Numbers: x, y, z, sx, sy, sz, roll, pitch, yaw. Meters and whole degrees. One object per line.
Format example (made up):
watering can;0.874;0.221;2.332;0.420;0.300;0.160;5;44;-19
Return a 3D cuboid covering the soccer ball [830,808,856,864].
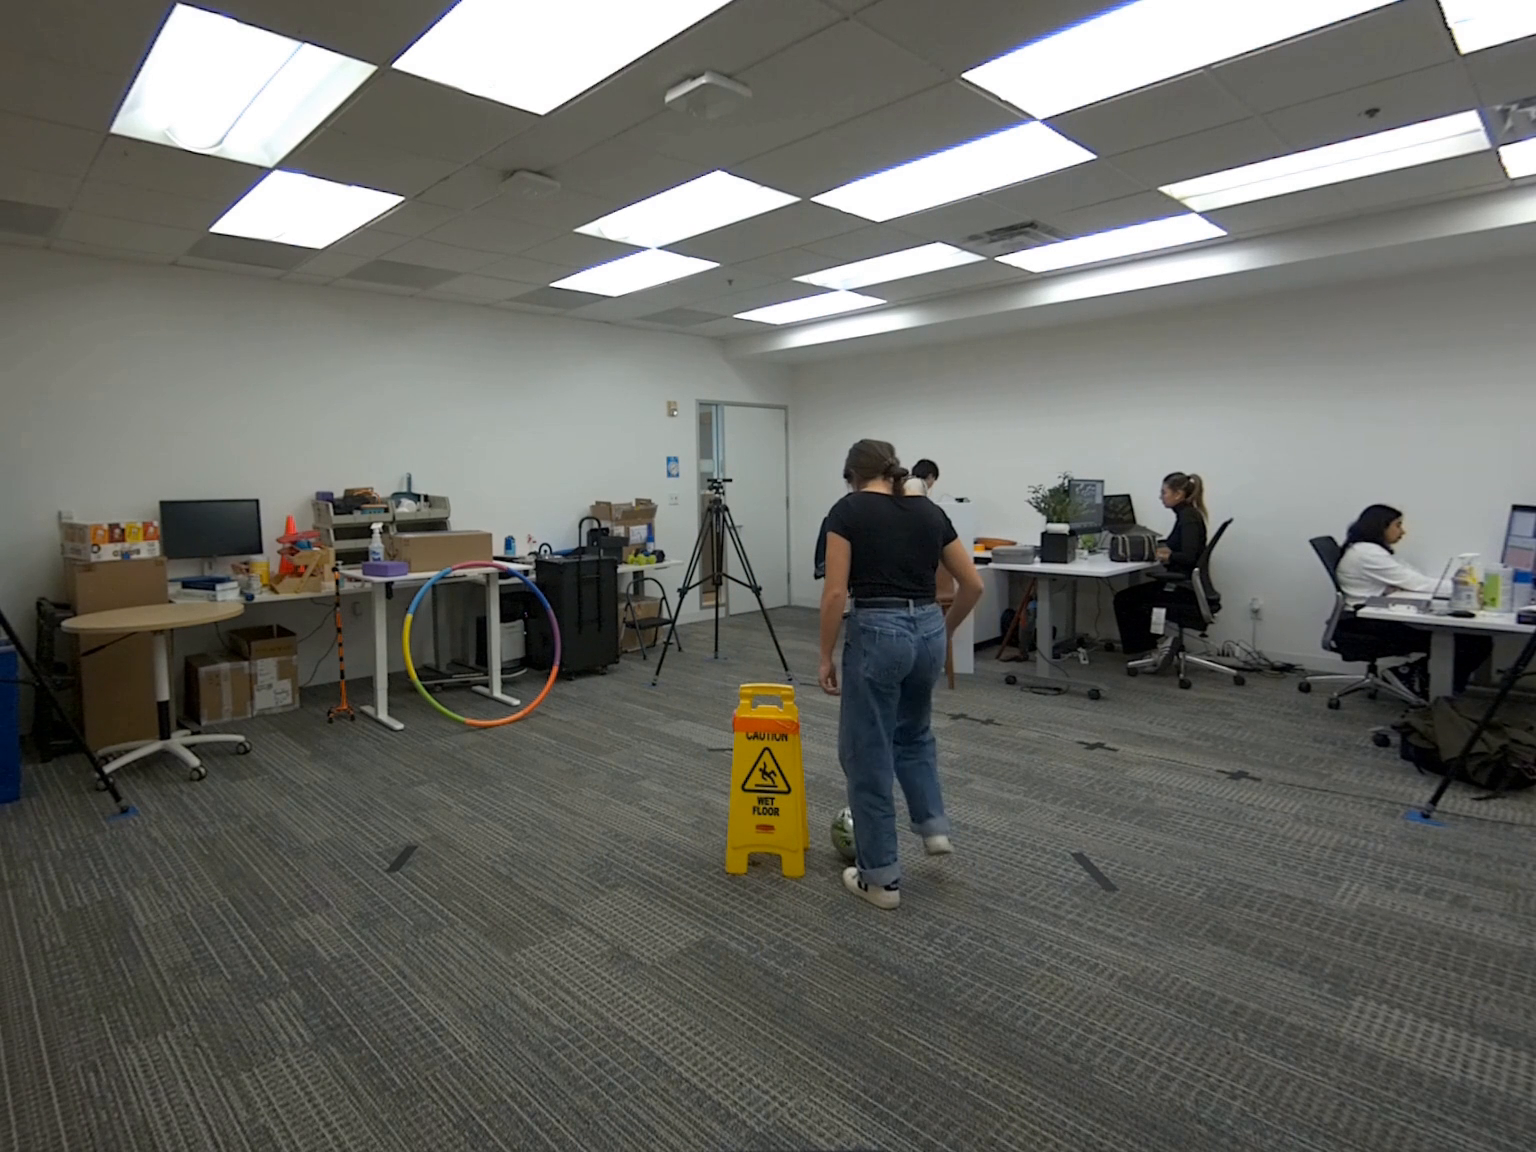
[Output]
soccer ball;0.326;0.941;3.133;0.187;0.187;0.188;-1;5;-2
